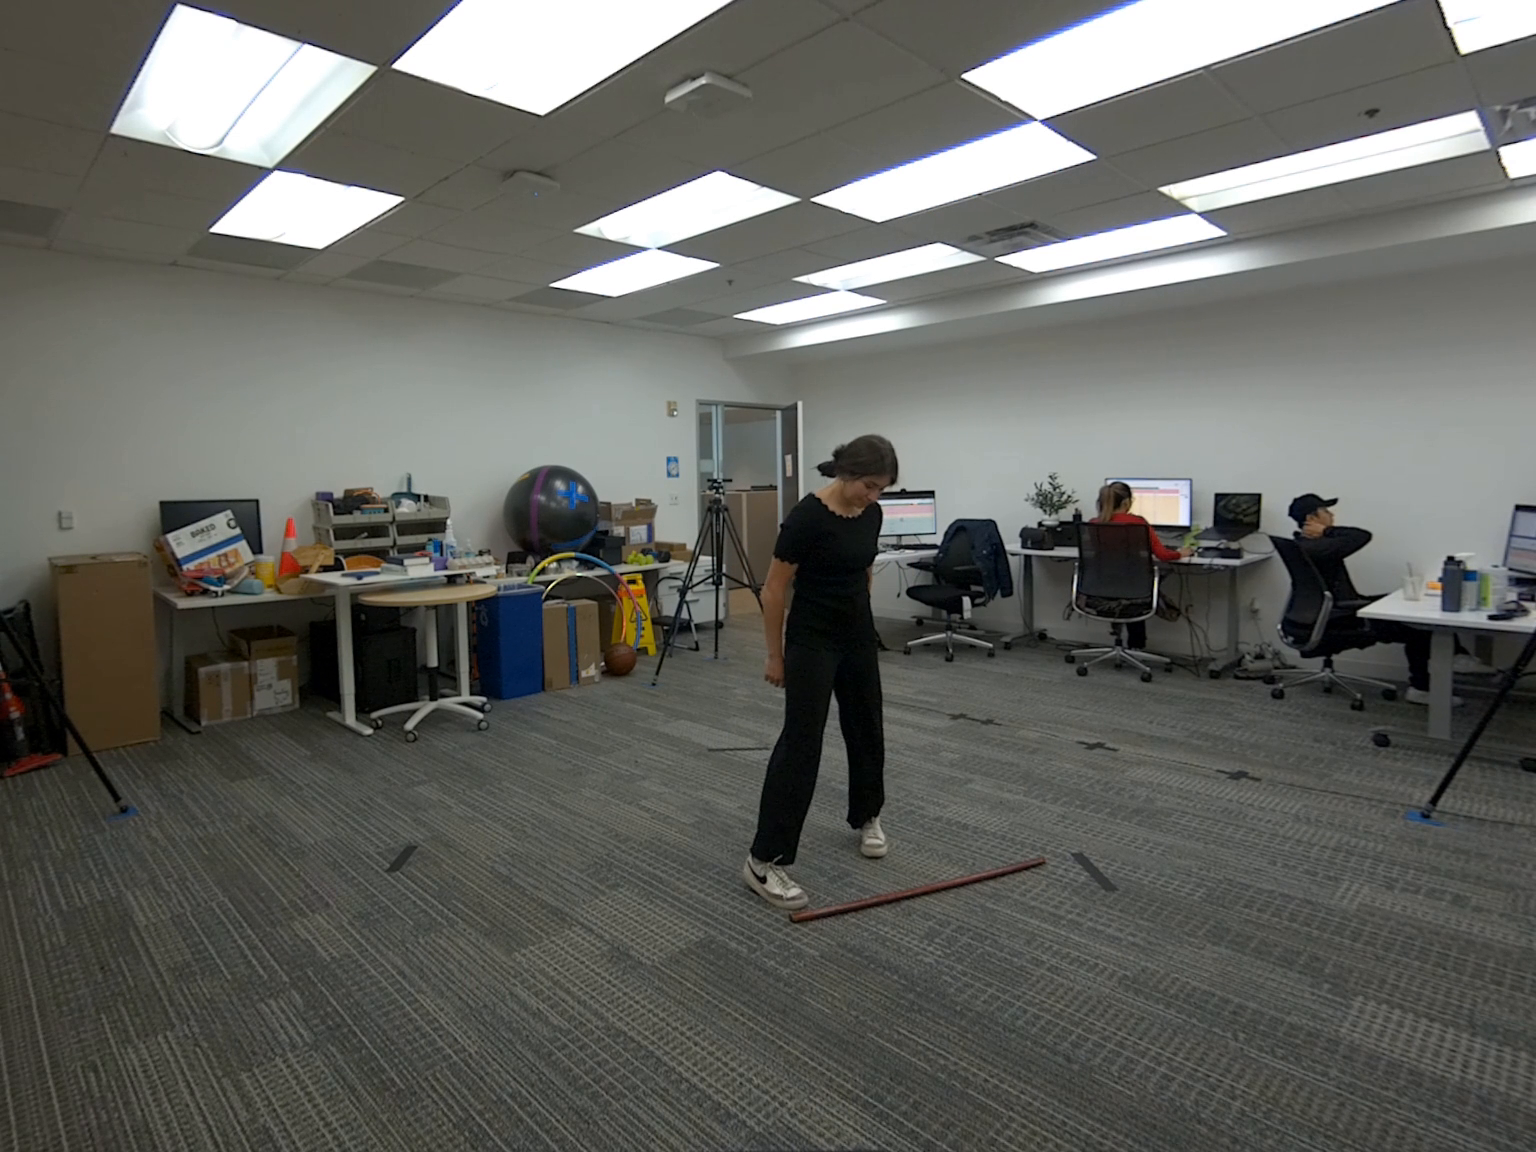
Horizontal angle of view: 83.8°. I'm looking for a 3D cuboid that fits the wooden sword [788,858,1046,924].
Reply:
[{"bbox_3d":[0.540,1.043,2.878,1.005,0.024,0.052,-4,2,-23],"label":"wooden sword"}]
